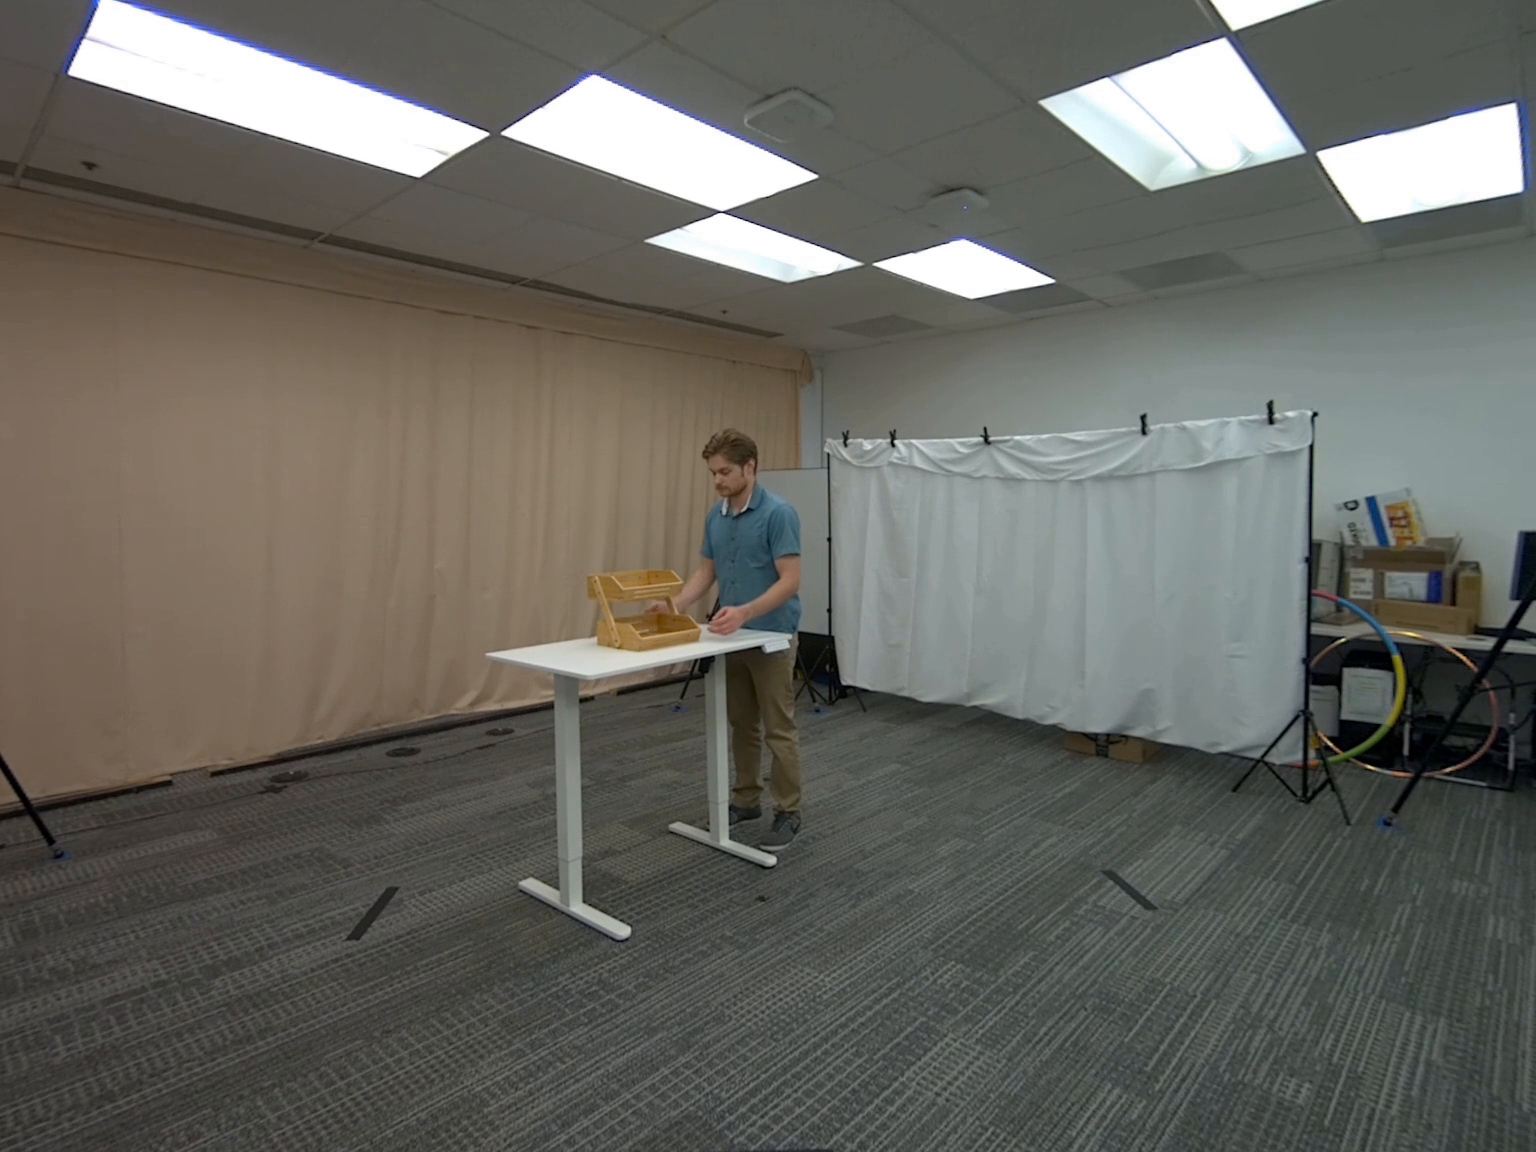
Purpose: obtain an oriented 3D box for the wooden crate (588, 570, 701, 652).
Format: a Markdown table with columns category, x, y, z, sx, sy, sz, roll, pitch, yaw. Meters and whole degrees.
| category | x | y | z | sx | sy | sz | roll | pitch | yaw |
| --- | --- | --- | --- | --- | --- | --- | --- | --- | --- |
| wooden crate | -0.457 | 0.118 | 3.150 | 0.312 | 0.273 | 0.314 | 2 | 5 | 43 |
